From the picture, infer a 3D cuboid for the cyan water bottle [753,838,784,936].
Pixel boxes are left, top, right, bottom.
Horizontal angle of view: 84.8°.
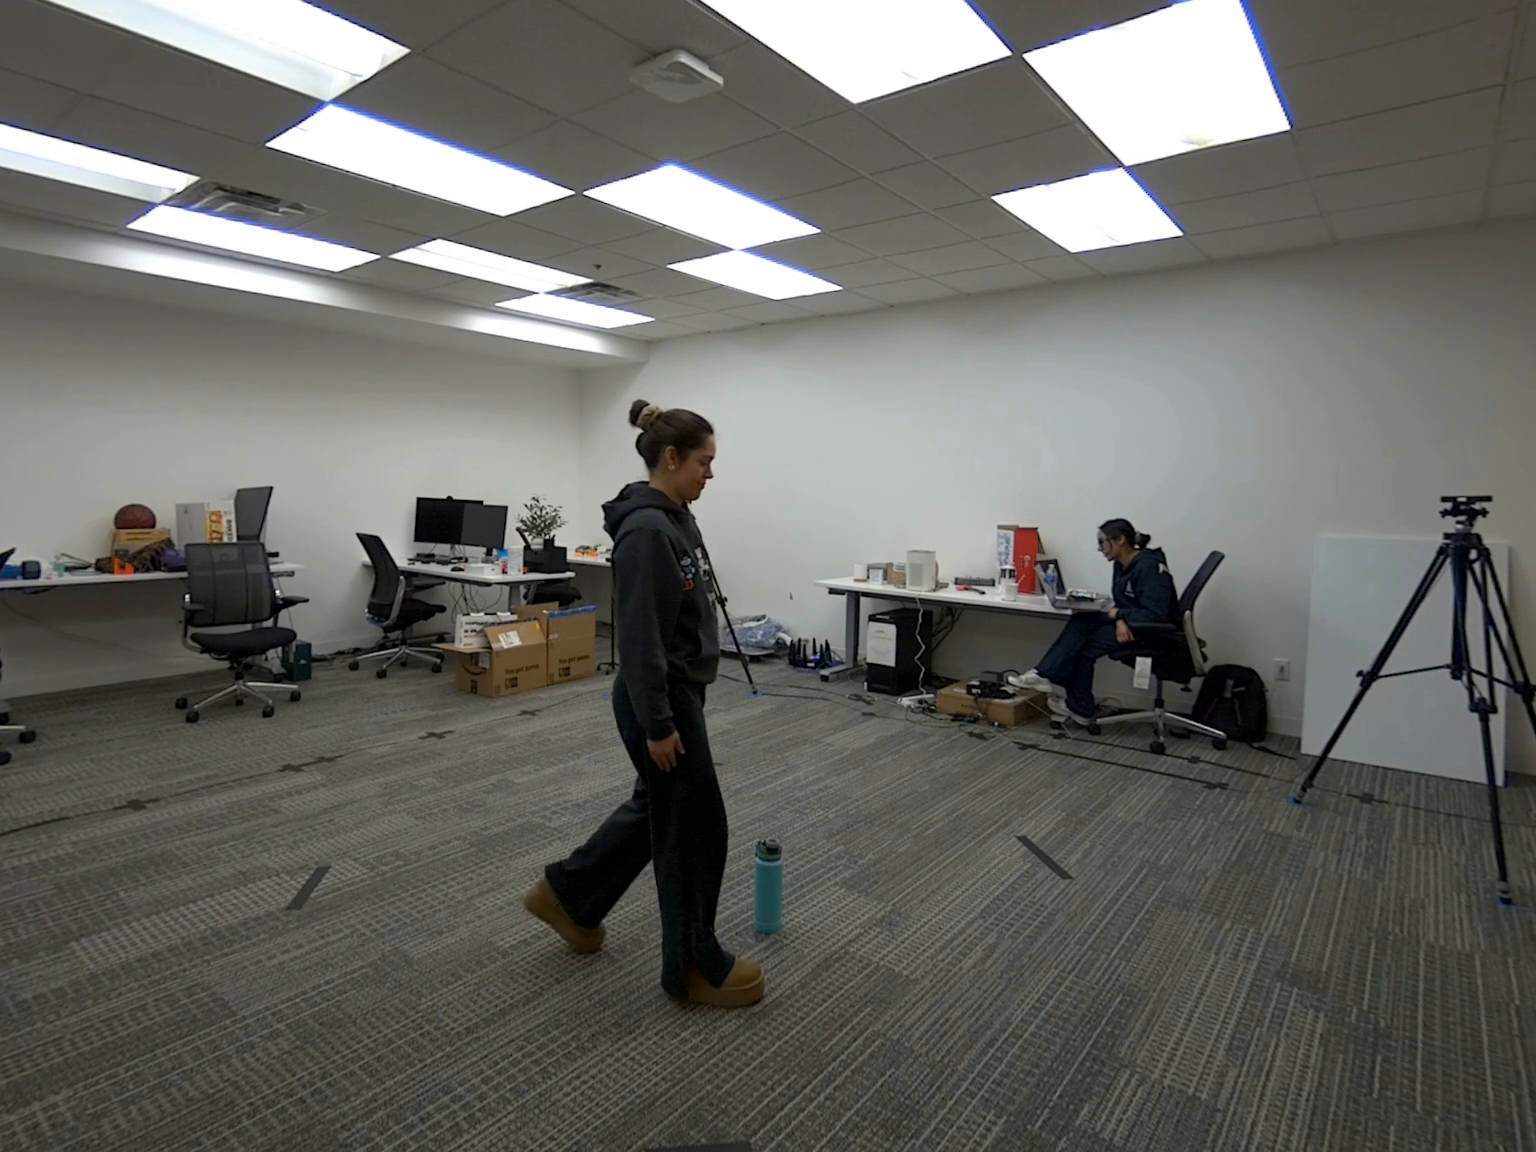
[{"bbox_3d":[0.004,0.969,2.694,0.092,0.283,0.092,0,2,-2],"label":"cyan water bottle"}]
